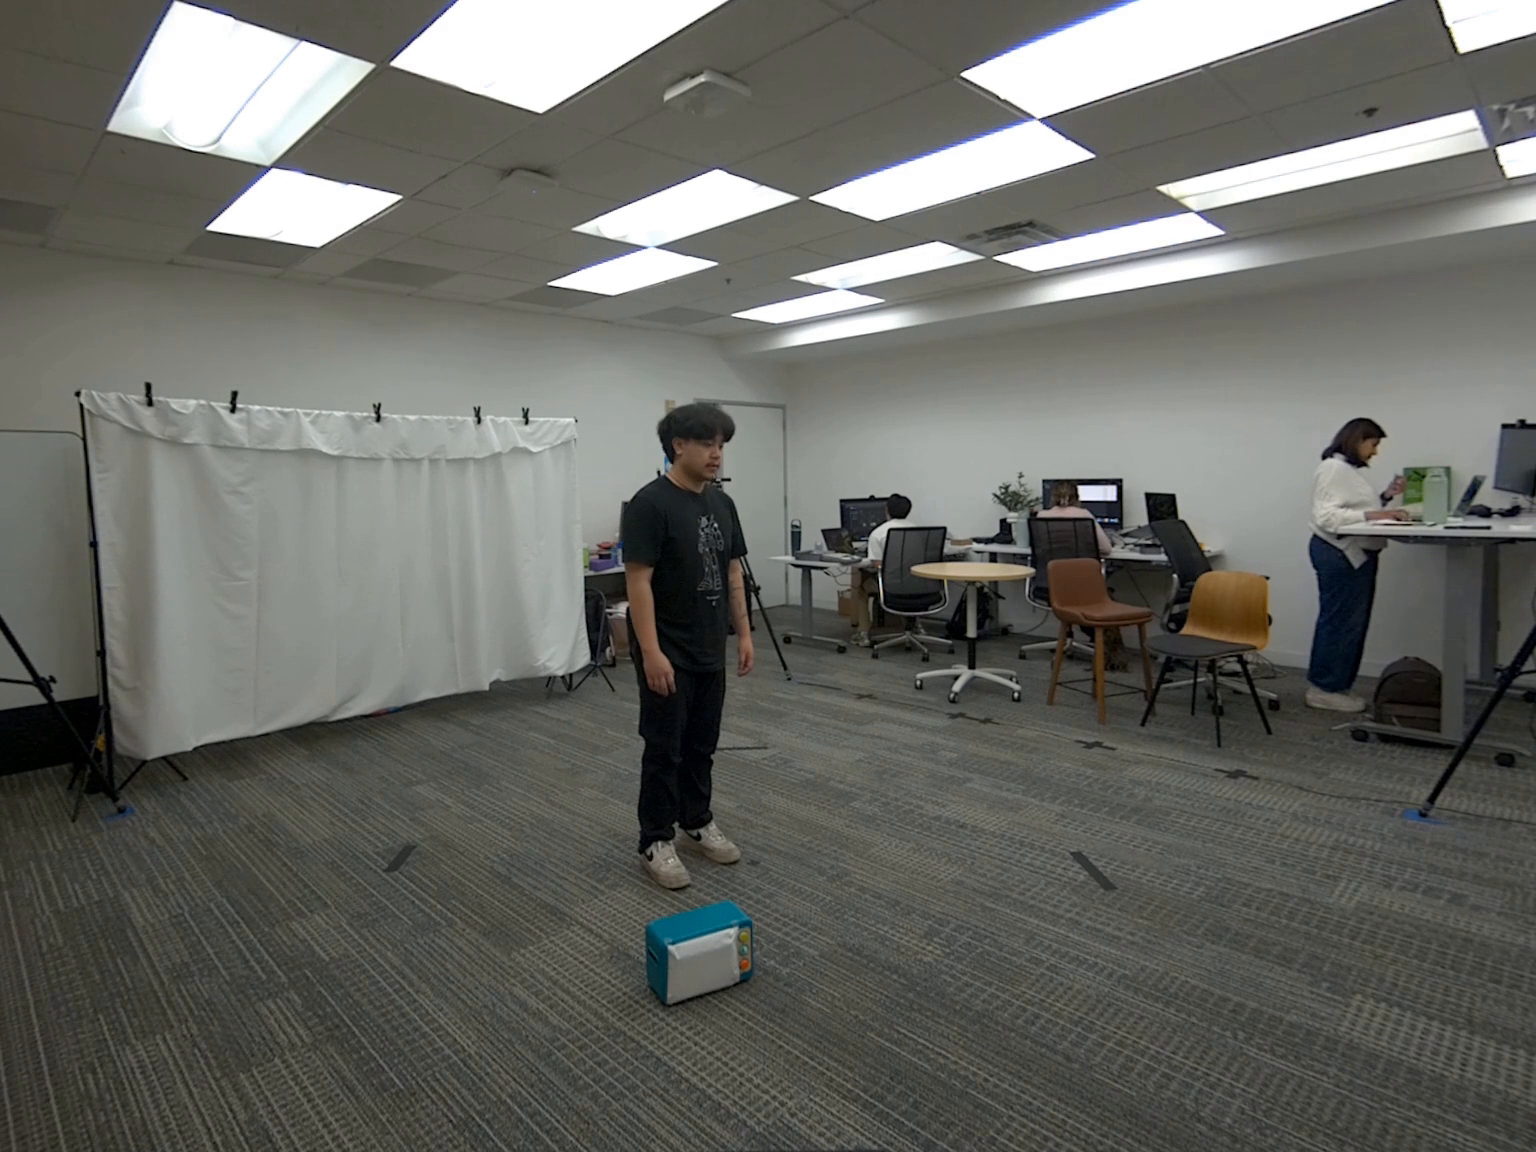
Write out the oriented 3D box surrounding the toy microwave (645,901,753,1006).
[{"bbox_3d":[-0.185,1.046,2.363,0.280,0.183,0.156,-4,6,-28],"label":"toy microwave"}]
